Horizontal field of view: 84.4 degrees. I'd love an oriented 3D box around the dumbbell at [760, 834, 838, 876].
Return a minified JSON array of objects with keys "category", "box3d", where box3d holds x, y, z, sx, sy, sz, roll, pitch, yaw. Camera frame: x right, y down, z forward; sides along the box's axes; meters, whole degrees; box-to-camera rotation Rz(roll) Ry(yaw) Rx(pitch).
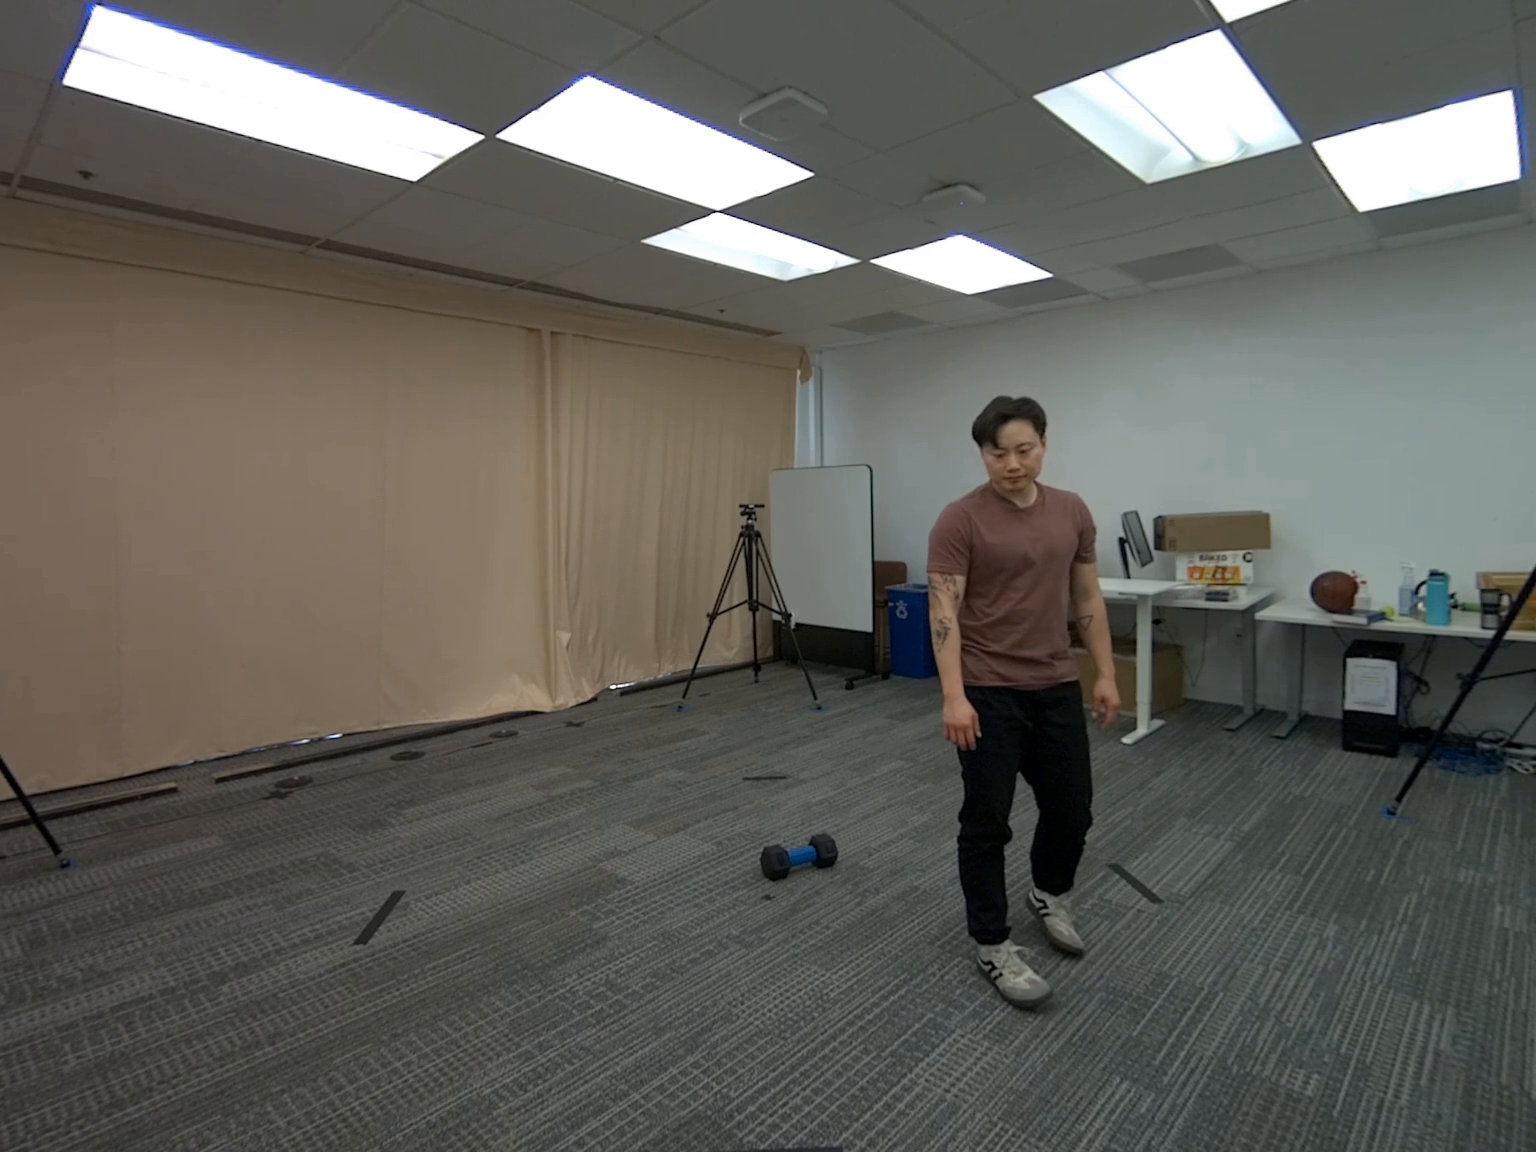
[{"category":"dumbbell","box3d":[0.123,1.065,3.190,0.286,0.125,0.109,-4,-26,-26]}]
